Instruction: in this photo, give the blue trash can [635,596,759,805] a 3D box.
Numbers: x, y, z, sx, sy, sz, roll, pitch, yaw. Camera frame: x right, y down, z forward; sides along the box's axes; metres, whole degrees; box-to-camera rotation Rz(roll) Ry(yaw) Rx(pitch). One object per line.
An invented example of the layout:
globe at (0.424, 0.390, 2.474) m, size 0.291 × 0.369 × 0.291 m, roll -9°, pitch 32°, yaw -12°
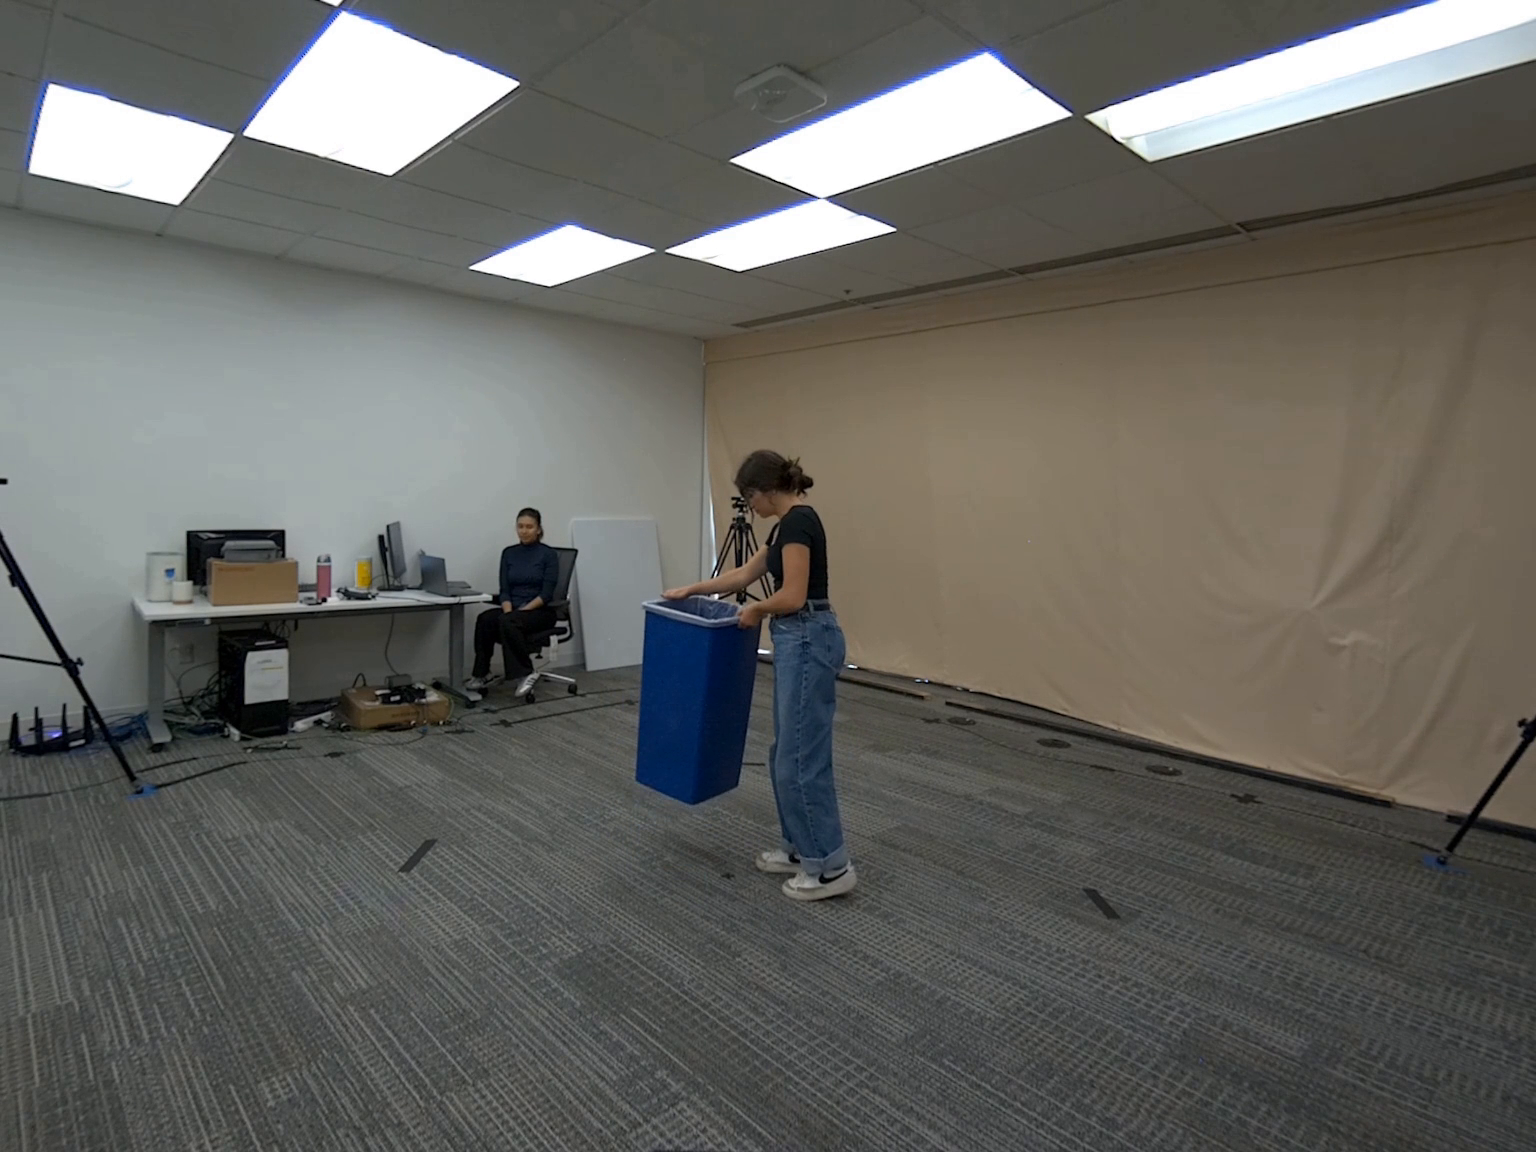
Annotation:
blue trash can at (-0.285, 0.479, 3.280) m, size 0.388 × 0.710 × 0.366 m, roll 10°, pitch 8°, yaw 35°
